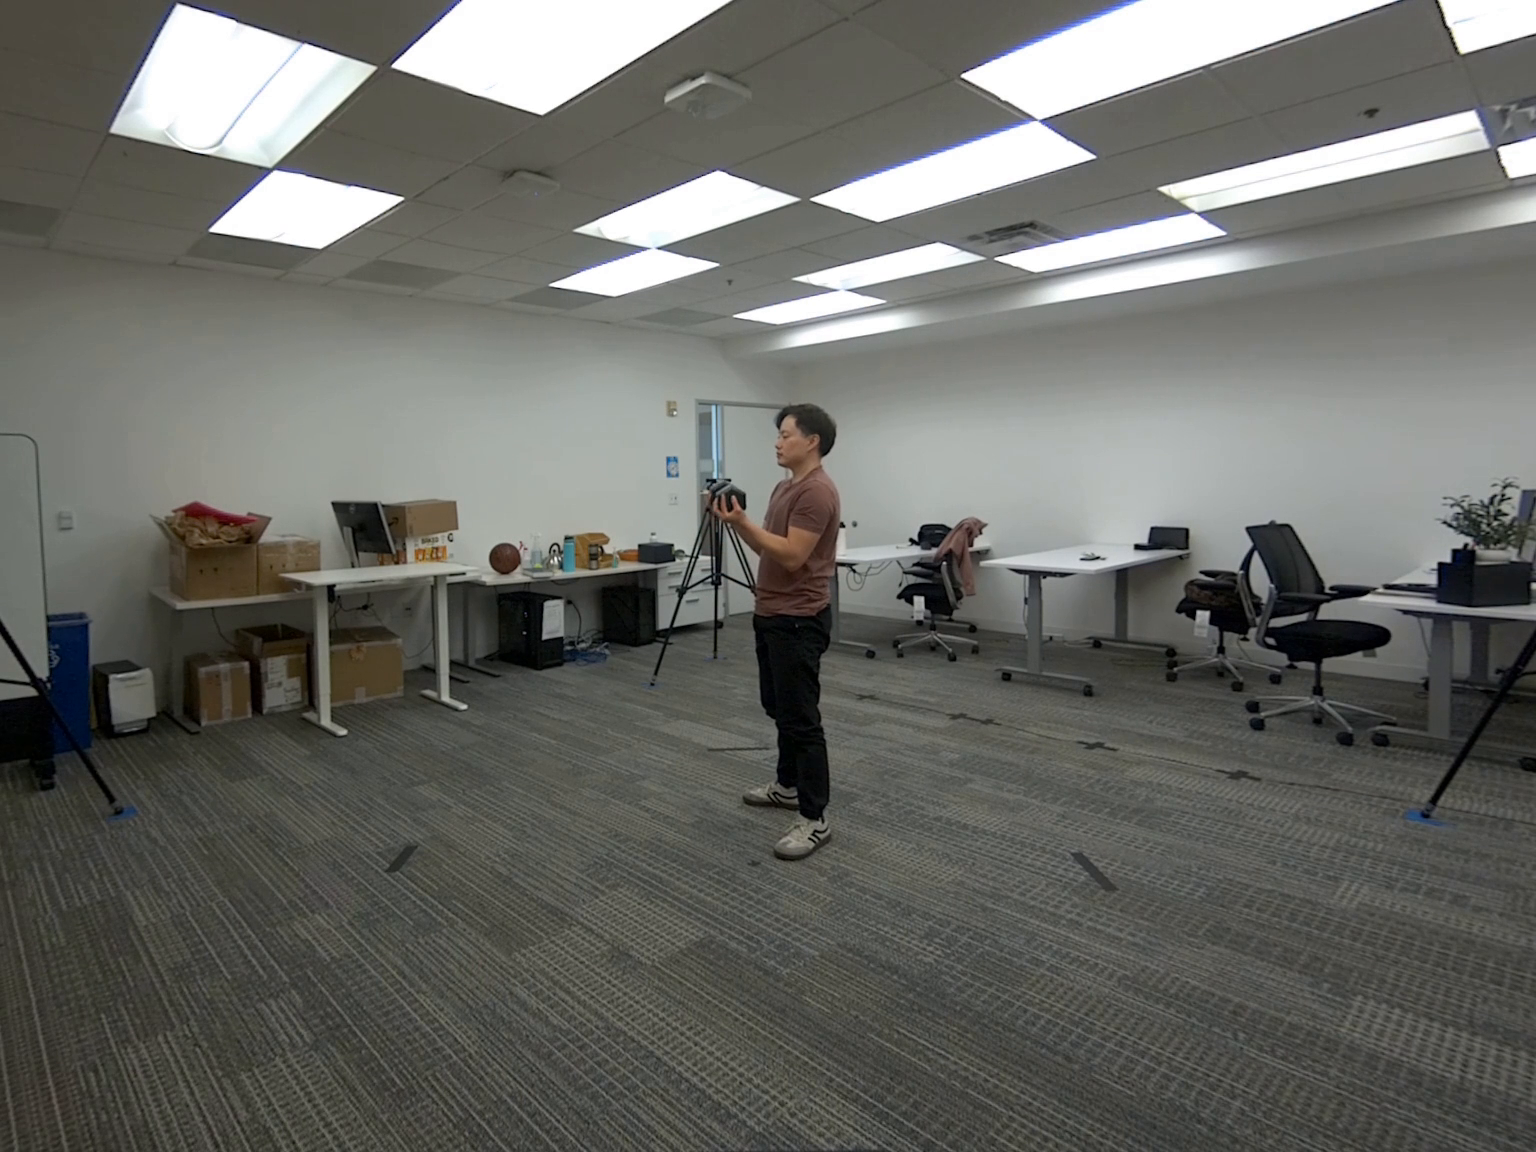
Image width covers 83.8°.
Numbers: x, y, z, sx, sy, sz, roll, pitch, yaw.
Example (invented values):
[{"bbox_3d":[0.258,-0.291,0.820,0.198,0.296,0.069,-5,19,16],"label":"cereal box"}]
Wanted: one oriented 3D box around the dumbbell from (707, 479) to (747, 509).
[{"bbox_3d":[-0.141,-0.306,3.335,0.121,0.108,0.298,25,8,-11],"label":"dumbbell"}]
